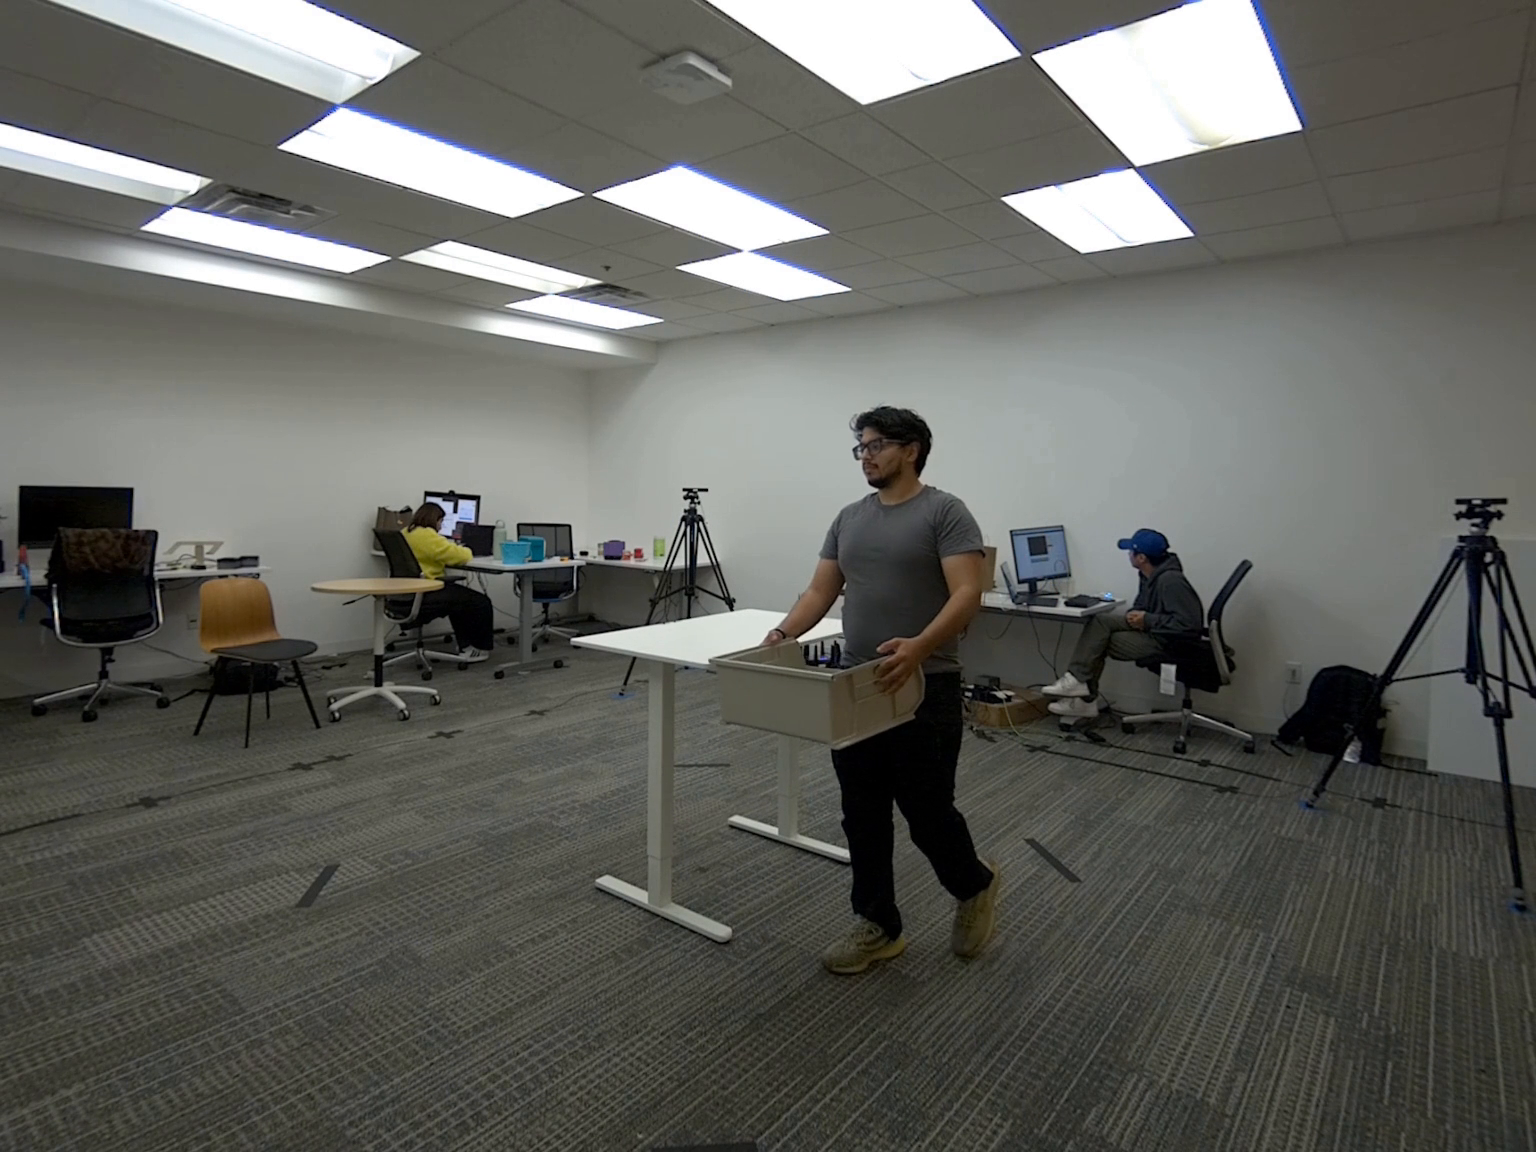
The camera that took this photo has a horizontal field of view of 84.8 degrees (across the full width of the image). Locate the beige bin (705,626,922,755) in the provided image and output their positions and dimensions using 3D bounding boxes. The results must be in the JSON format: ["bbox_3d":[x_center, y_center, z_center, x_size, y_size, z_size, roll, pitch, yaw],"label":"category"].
[{"bbox_3d":[0.119,0.281,2.233,0.437,0.187,0.368,5,13,42],"label":"beige bin"}]
